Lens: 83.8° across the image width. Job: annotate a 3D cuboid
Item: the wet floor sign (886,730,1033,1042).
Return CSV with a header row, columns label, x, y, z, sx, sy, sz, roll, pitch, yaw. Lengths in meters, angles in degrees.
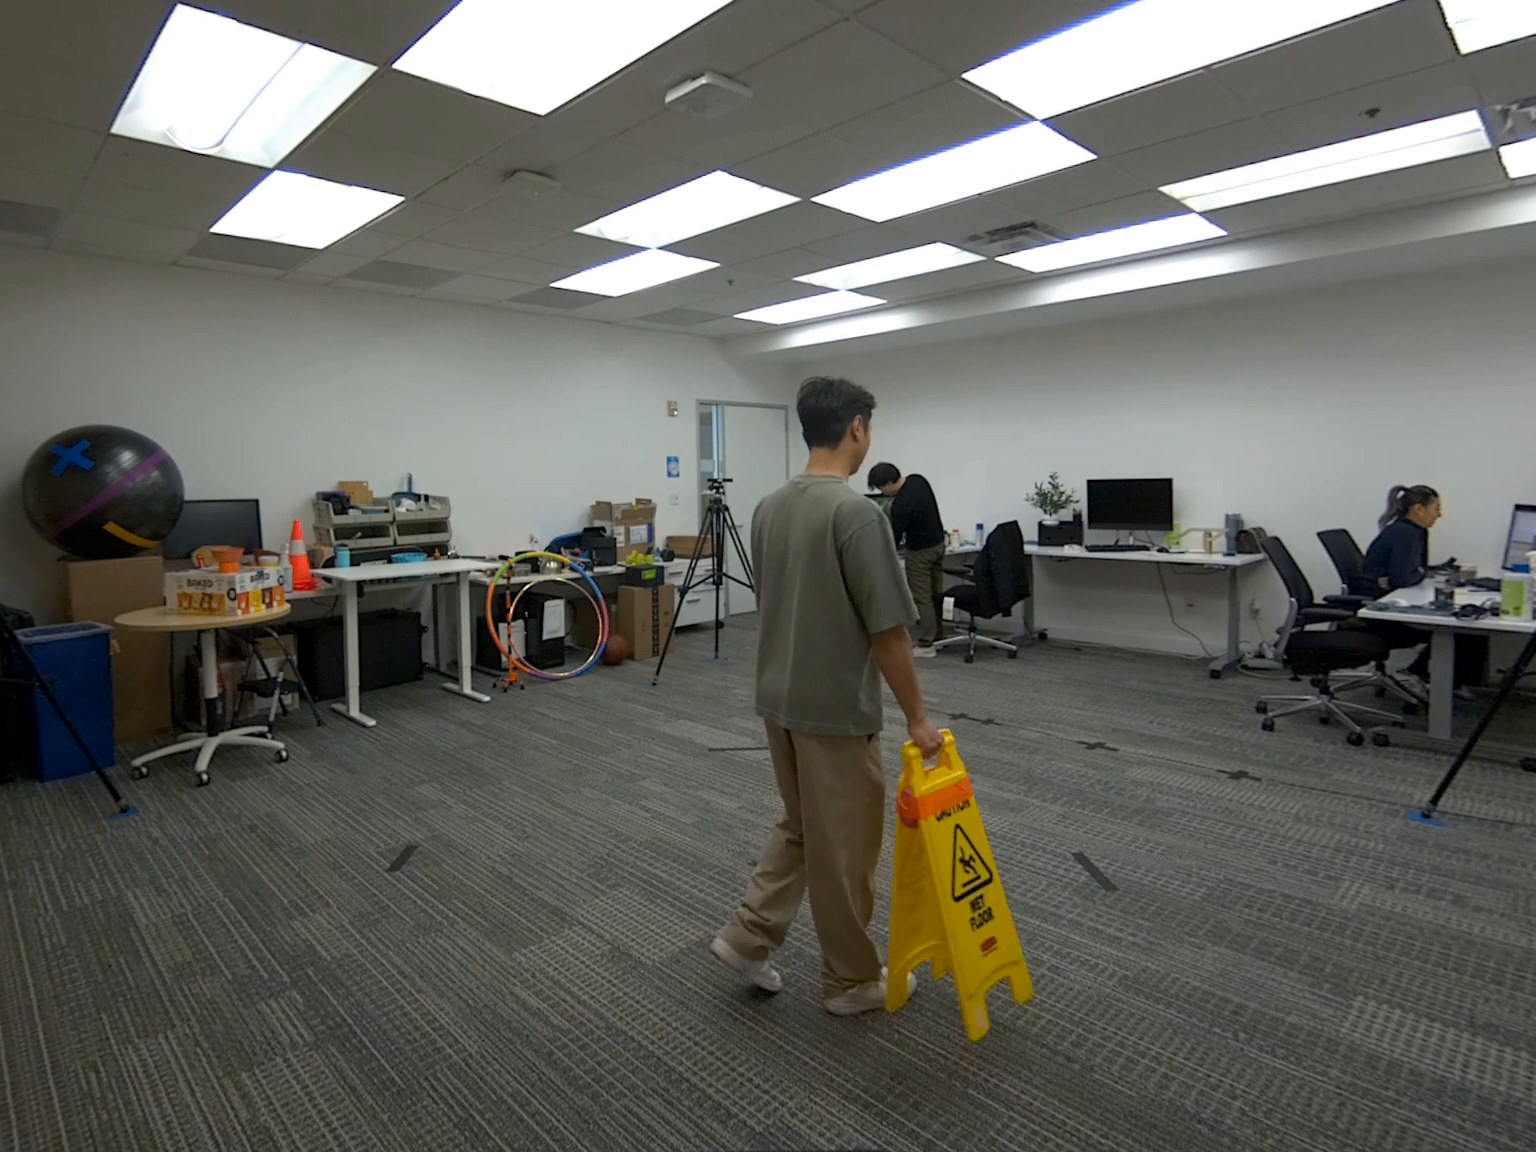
label,x,y,z,sx,sy,sz,roll,pitch,yaw
wet floor sign,0.417,0.722,2.115,0.274,0.649,0.297,-3,-5,-44
